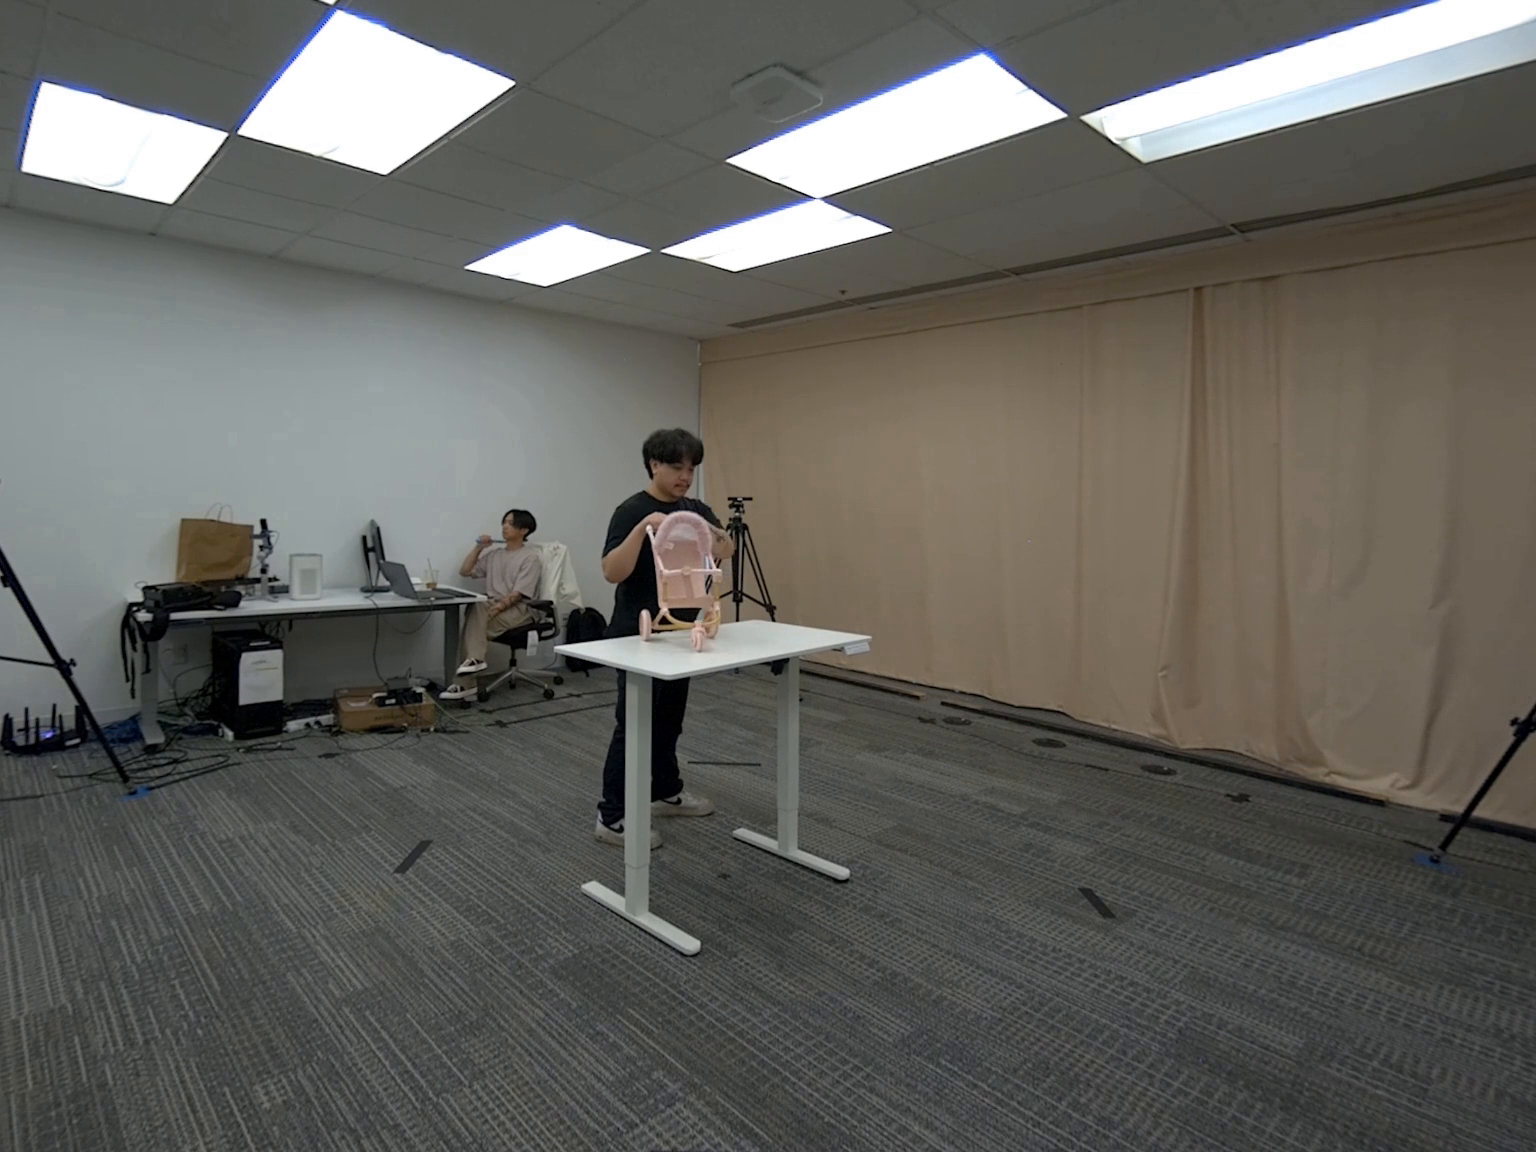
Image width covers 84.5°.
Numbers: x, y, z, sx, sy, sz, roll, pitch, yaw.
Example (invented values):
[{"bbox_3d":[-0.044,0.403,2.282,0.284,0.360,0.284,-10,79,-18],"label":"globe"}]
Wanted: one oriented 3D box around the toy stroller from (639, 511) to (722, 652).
[{"bbox_3d":[-0.302,0.013,2.960,0.278,0.540,0.342,0,-12,-16],"label":"toy stroller"}]
